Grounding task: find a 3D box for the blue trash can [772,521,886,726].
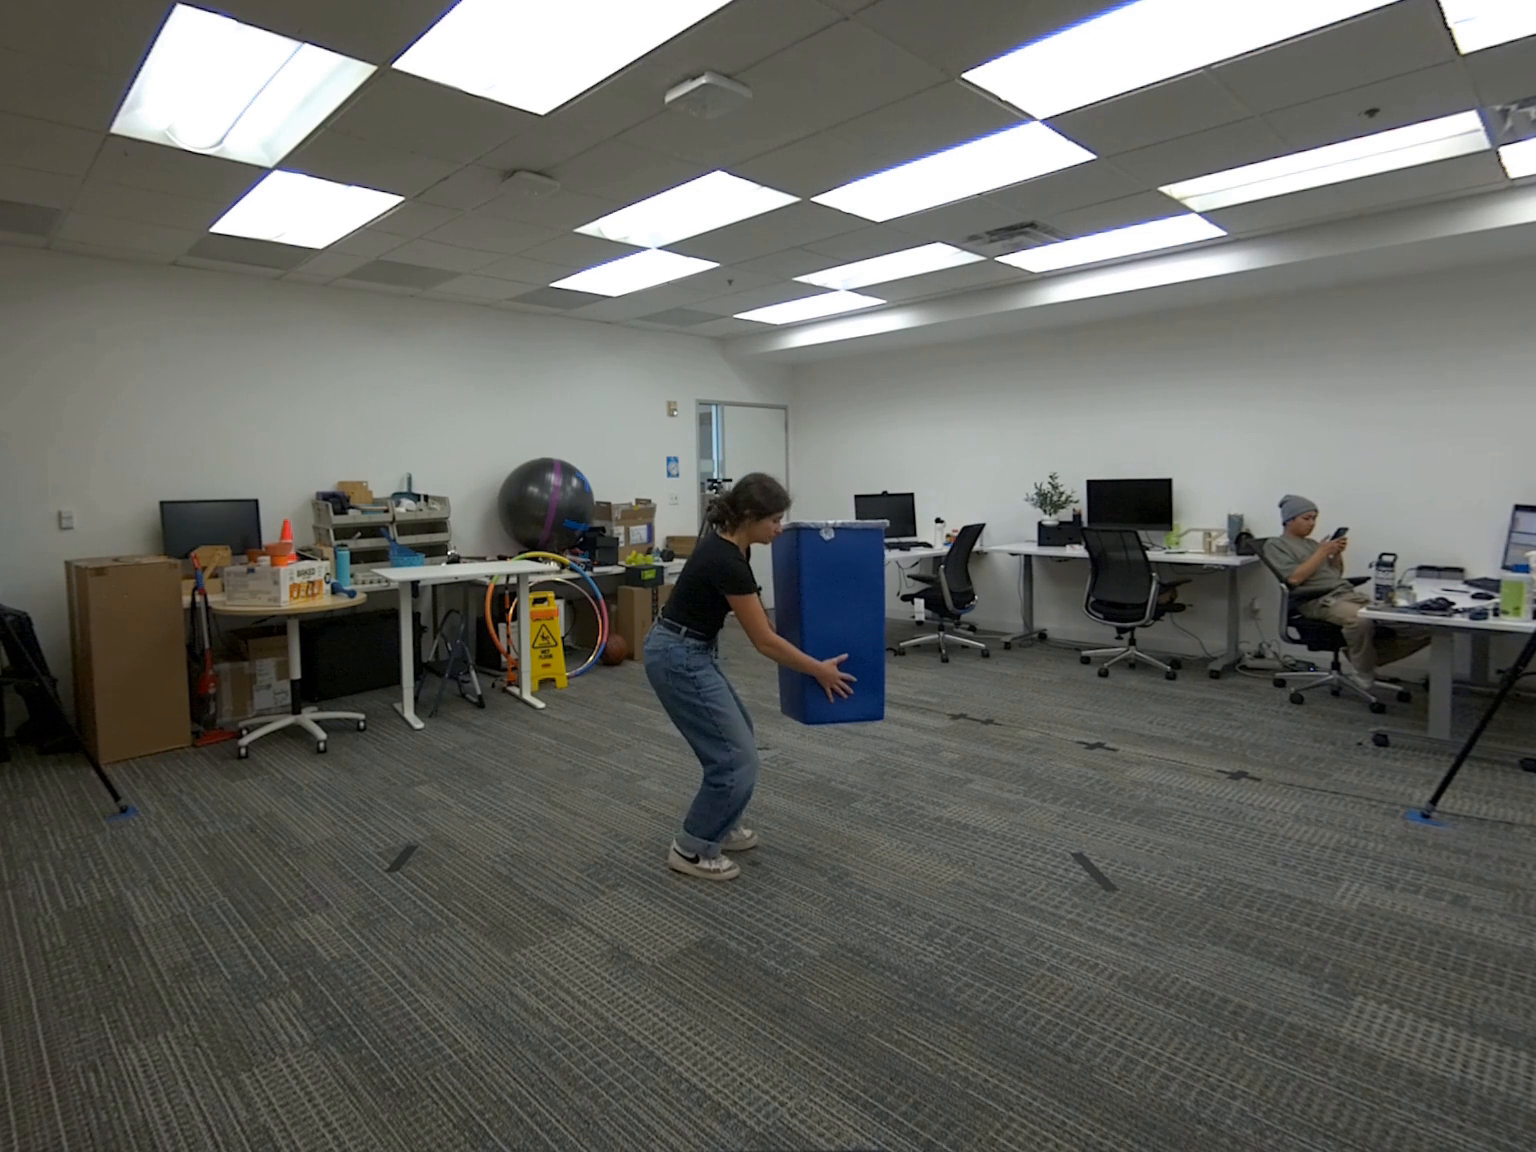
[{"bbox_3d":[0.223,0.165,3.188,0.373,0.715,0.378,0,-2,-15],"label":"blue trash can"}]
